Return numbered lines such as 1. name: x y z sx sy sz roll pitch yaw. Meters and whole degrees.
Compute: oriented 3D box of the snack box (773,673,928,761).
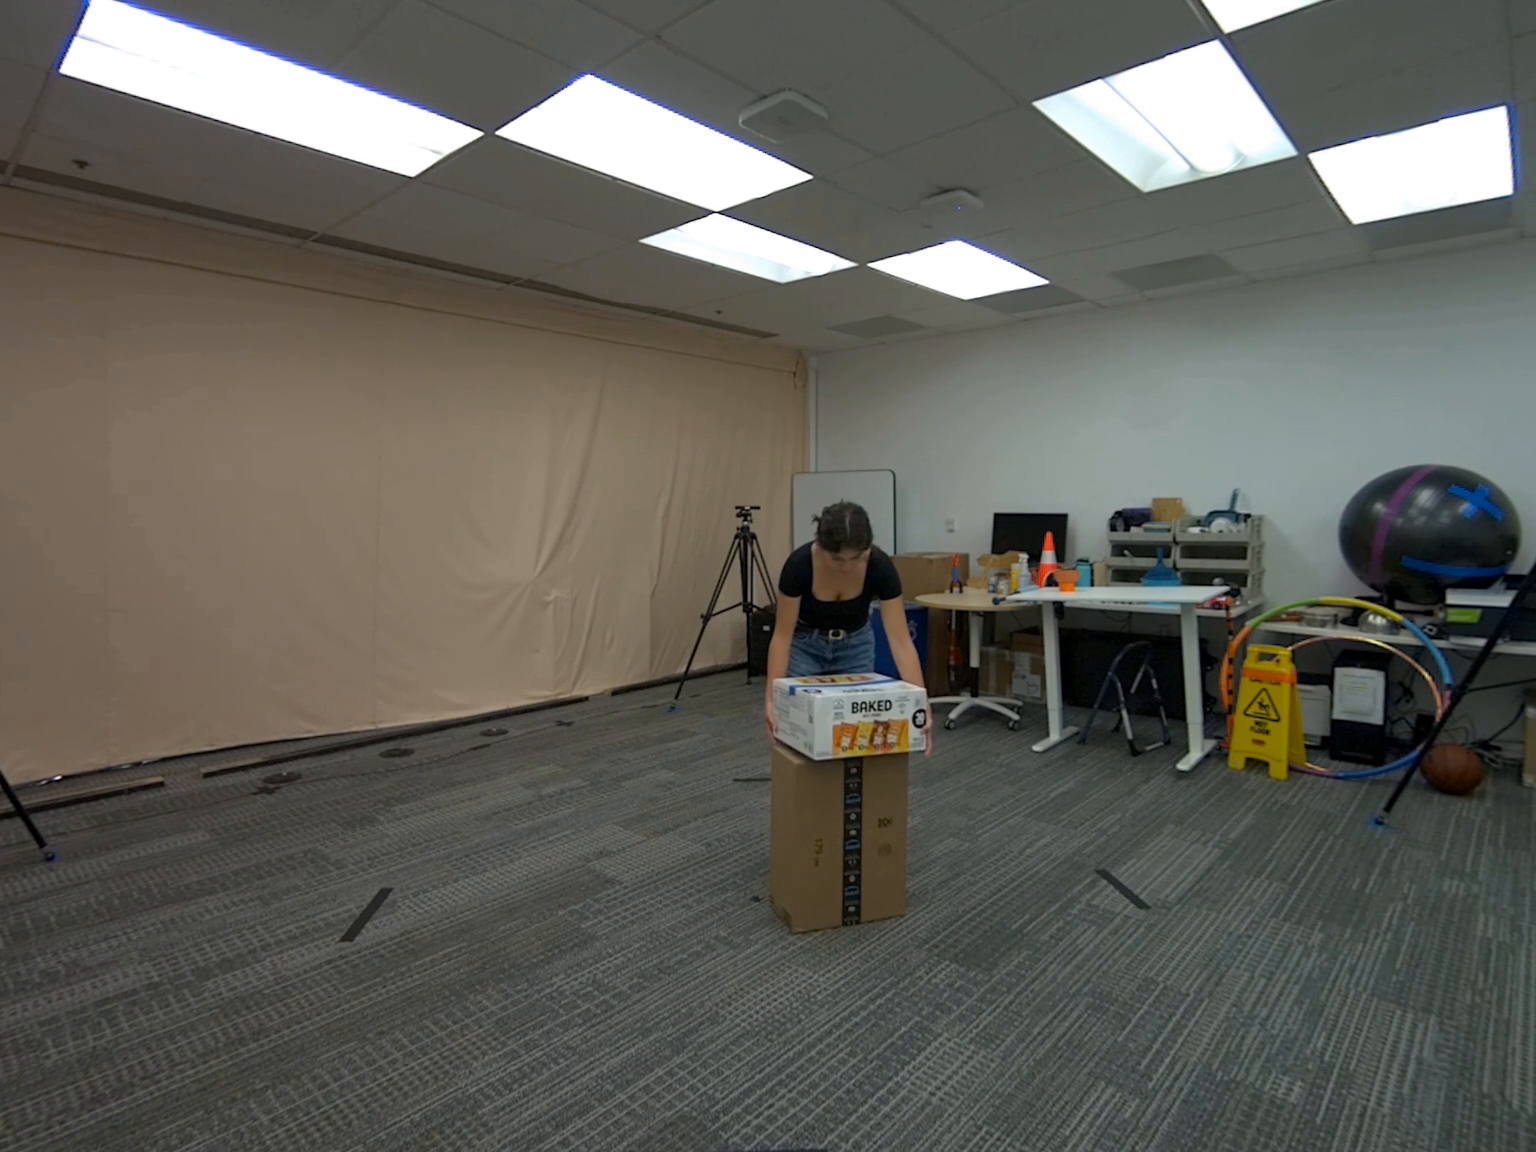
1. snack box: 0.266 0.460 2.843 0.397 0.205 0.348 -1 2 -21
